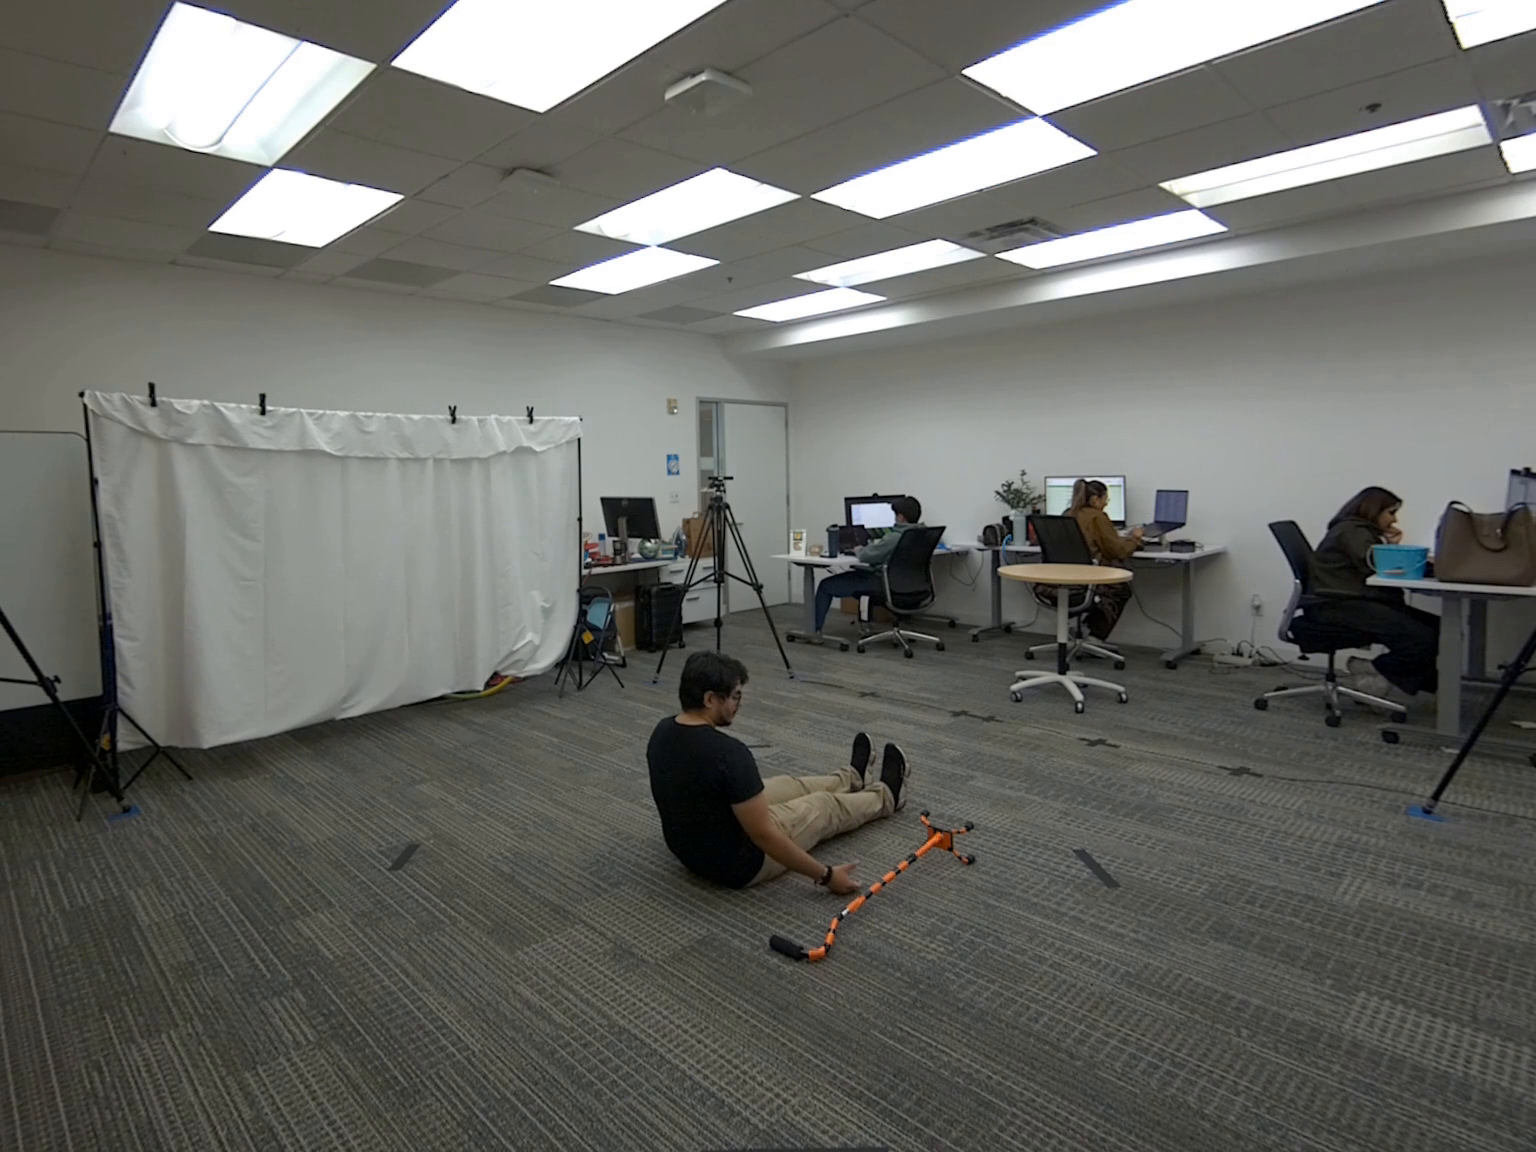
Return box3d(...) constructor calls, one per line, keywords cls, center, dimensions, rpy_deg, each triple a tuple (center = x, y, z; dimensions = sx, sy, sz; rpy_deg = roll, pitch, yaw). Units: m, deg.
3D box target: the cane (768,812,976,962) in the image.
box3d(cls="cane", center=(0.364, 1.012, 2.799), dimensions=(0.213, 0.150, 0.888), rpy_deg=(6, 14, 42))
